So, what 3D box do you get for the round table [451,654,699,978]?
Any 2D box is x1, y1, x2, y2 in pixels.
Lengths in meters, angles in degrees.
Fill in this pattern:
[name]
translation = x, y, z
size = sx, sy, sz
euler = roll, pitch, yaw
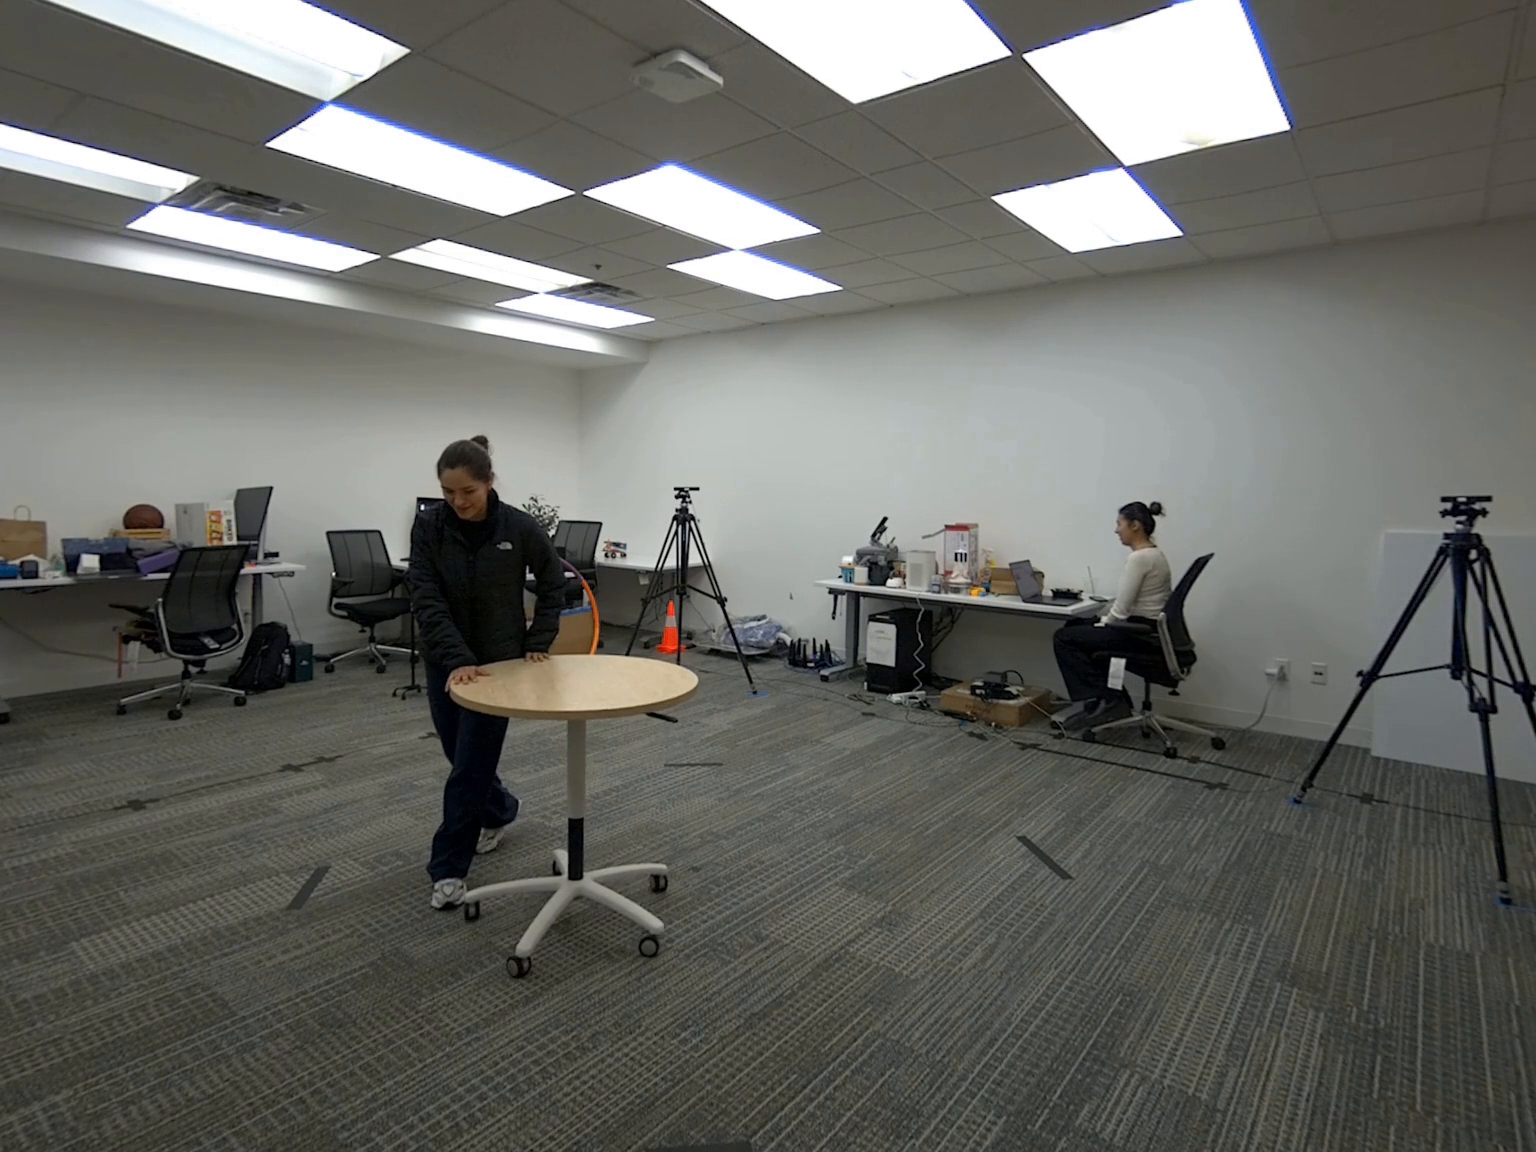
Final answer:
[round table]
translation = -0.611, 0.707, 2.723
size = 0.784, 0.784, 0.789
euler = 1, 5, -2
